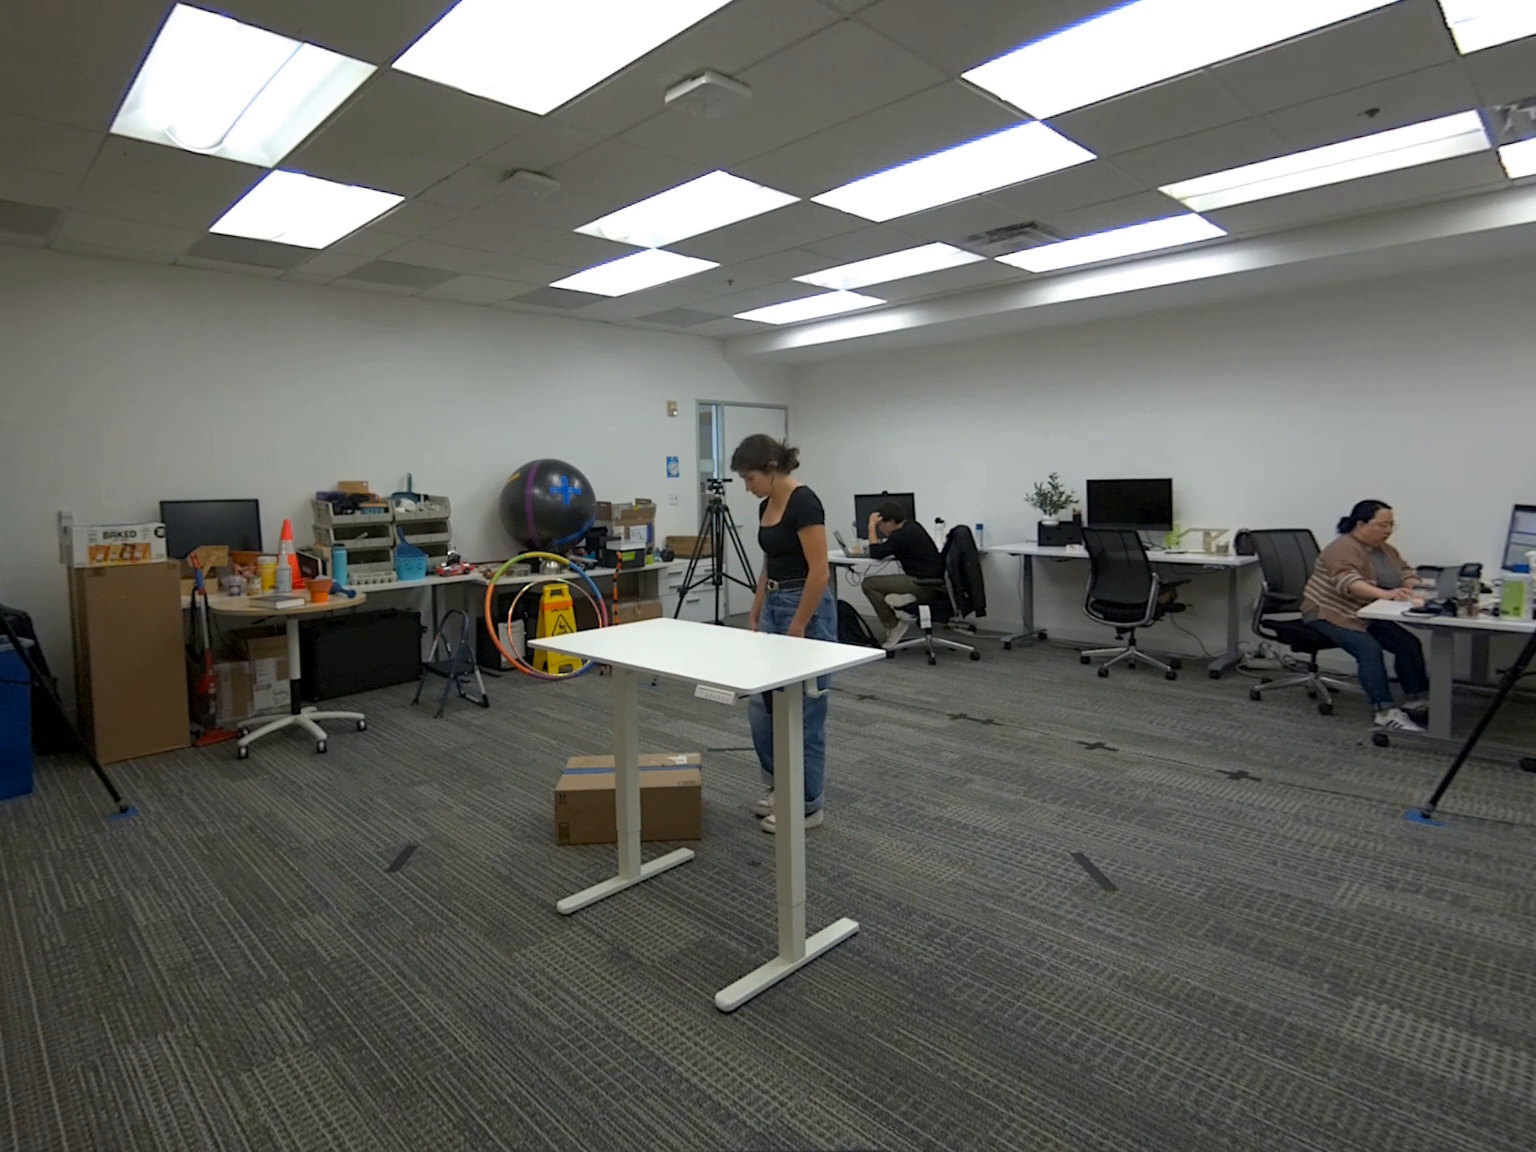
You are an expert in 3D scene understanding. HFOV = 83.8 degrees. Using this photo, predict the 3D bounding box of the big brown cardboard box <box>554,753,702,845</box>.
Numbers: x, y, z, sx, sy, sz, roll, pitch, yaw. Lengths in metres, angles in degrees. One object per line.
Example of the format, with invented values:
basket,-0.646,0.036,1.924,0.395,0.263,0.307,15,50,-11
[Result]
big brown cardboard box,-0.550,0.897,3.499,0.587,0.232,0.421,-2,6,-4
